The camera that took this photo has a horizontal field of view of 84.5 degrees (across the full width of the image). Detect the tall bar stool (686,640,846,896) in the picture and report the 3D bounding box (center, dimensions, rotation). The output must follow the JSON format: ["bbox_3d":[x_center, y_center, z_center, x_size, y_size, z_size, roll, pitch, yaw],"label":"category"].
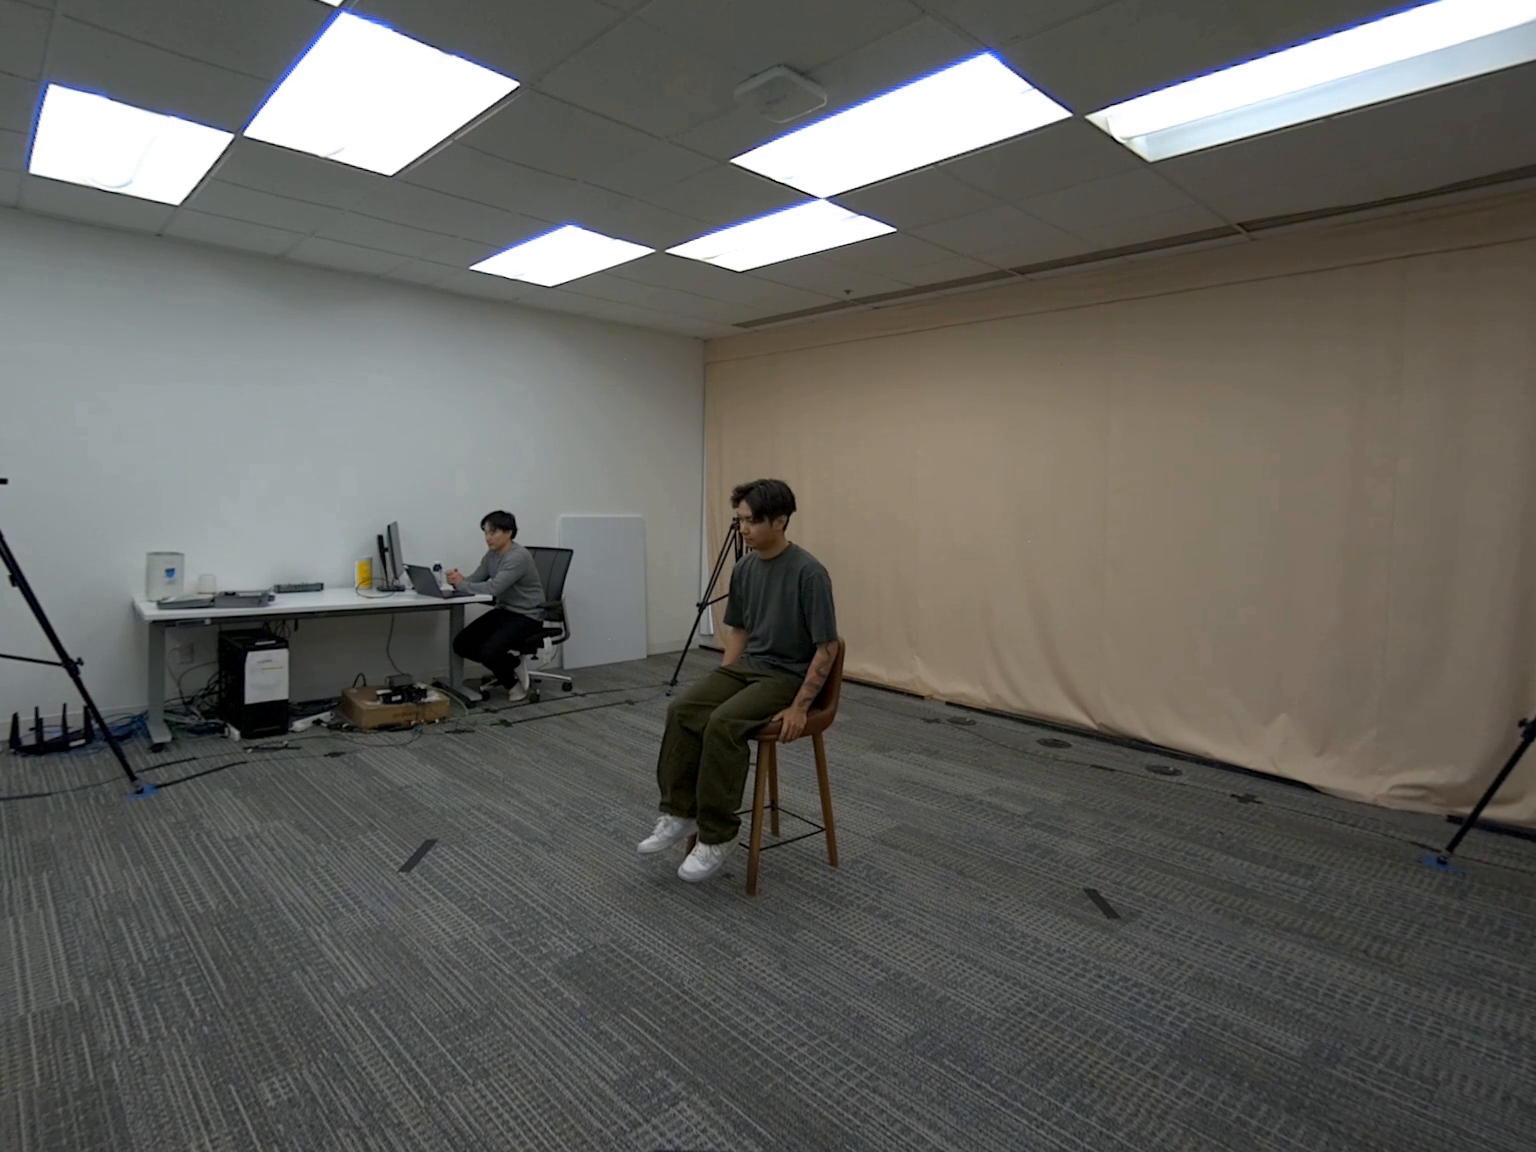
[{"bbox_3d":[-0.002,0.663,3.223,0.456,0.889,0.468,2,2,-39],"label":"tall bar stool"}]
